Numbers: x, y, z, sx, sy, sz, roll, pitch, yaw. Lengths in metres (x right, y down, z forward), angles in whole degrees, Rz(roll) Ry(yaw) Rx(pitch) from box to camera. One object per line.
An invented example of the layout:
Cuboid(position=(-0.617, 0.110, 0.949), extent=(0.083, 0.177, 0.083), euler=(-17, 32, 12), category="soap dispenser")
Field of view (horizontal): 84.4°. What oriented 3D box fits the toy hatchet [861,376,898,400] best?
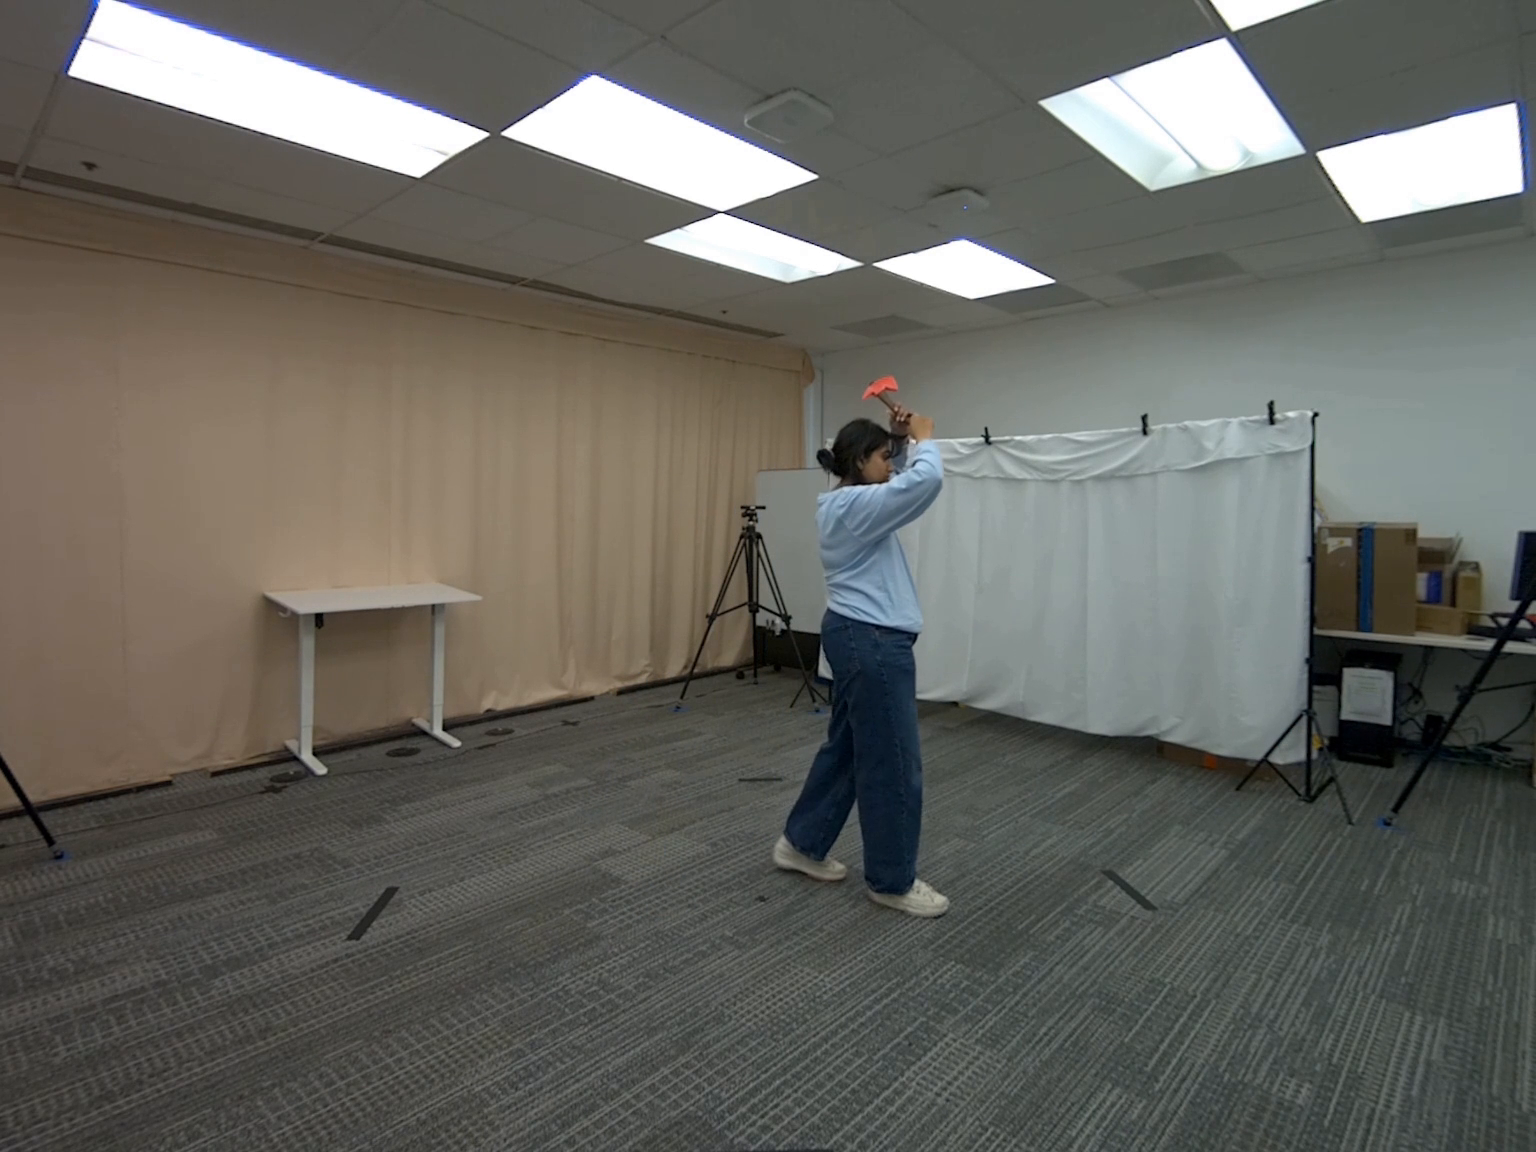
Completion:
Cuboid(position=(0.476, -0.608, 2.933), extent=(0.275, 0.131, 0.029), euler=(32, -13, 16), category="toy hatchet")
